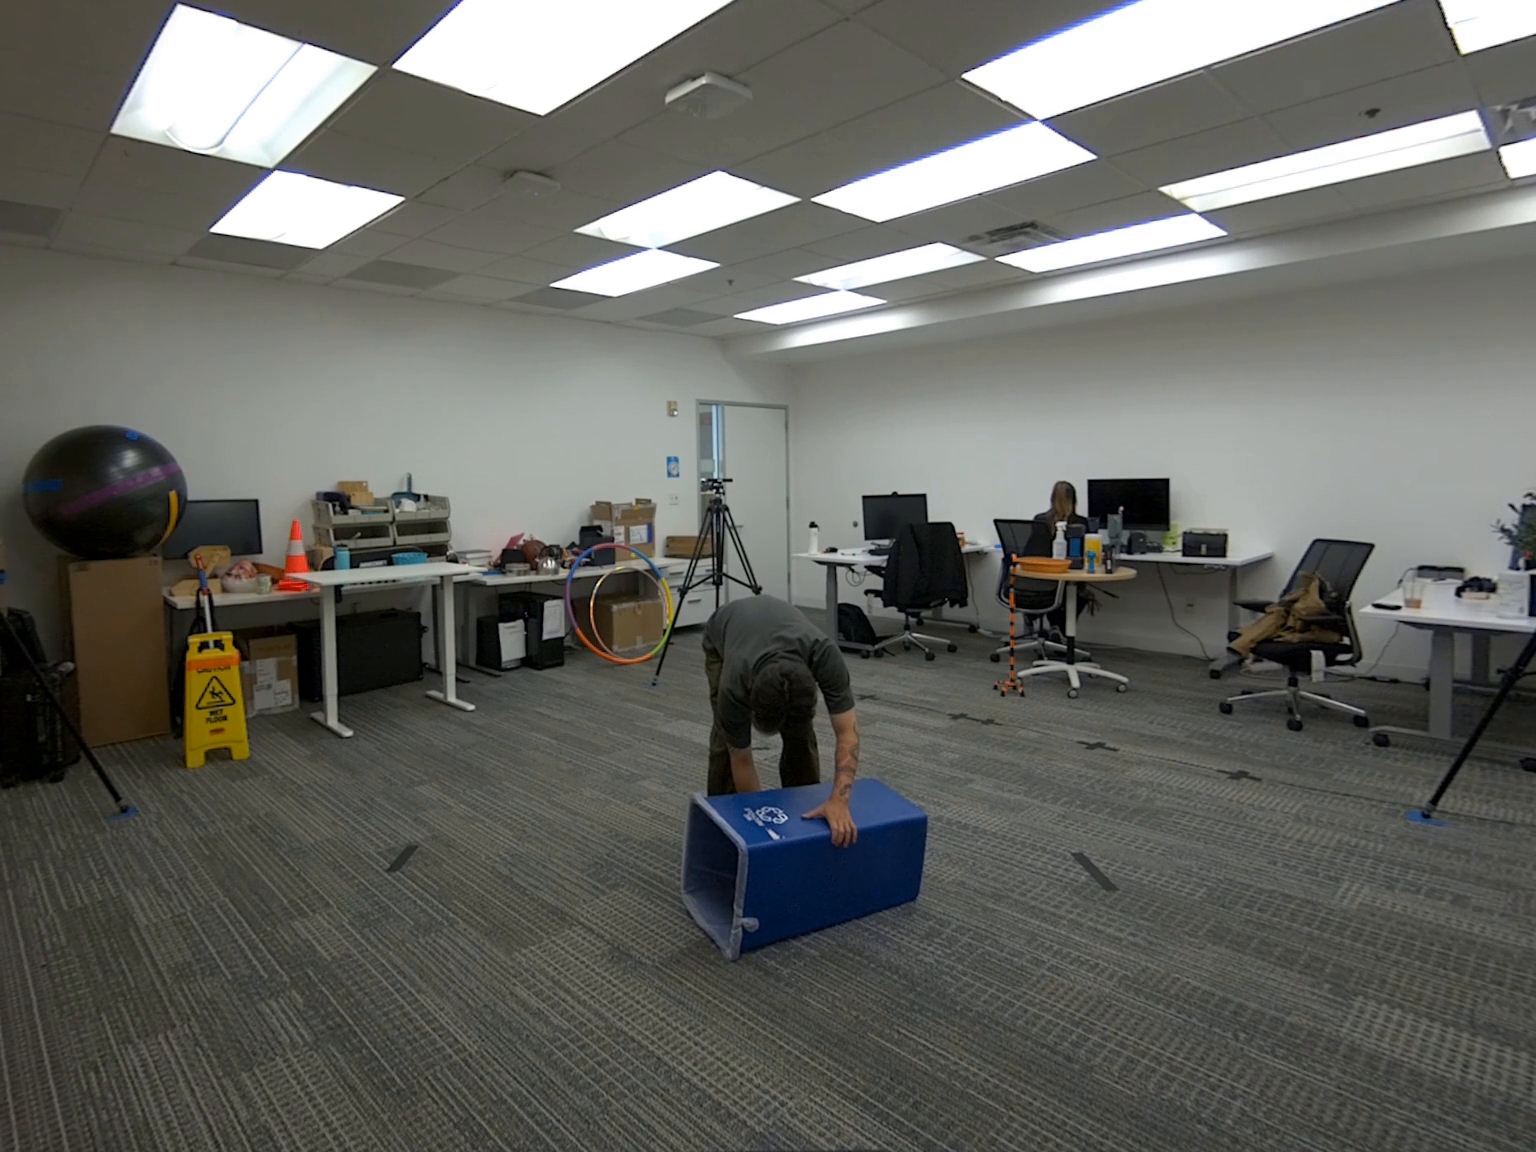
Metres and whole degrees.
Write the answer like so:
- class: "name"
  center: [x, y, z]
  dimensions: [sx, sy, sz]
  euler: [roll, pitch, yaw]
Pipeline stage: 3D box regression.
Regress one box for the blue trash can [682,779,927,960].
- class: "blue trash can"
  center: [0.133, 0.911, 2.758]
  dimensions: [0.697, 0.371, 0.390]
  euler: [0, 10, -27]
